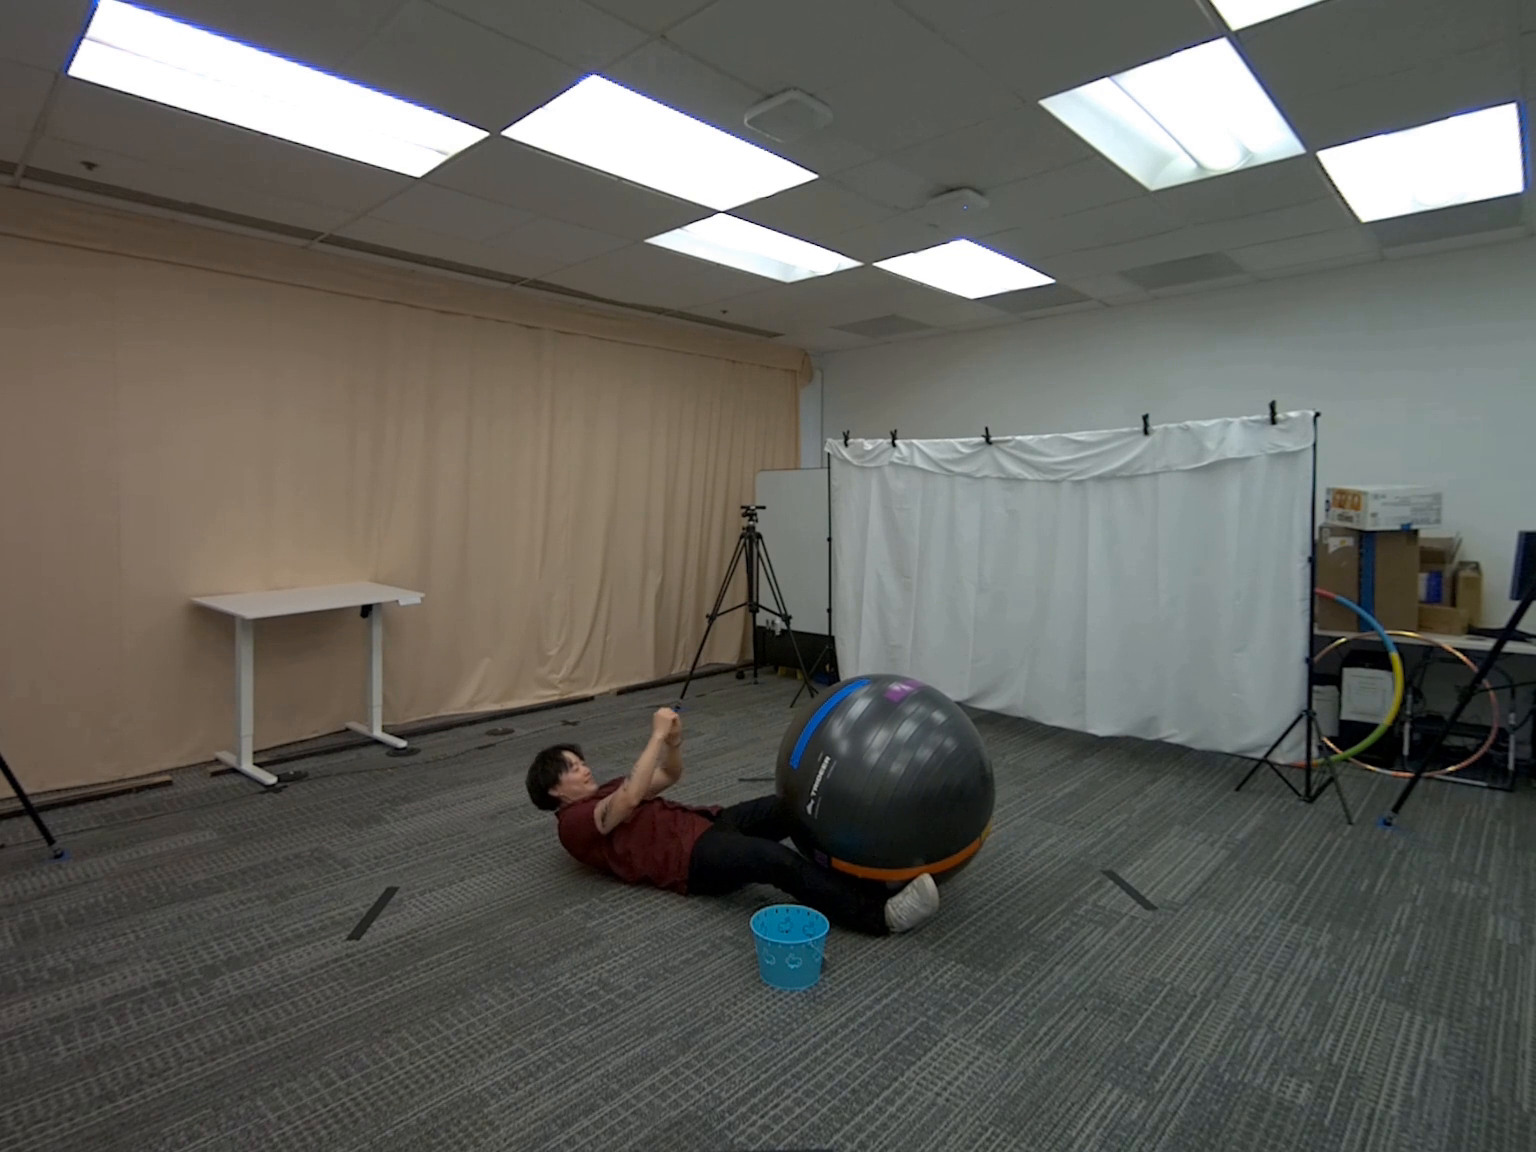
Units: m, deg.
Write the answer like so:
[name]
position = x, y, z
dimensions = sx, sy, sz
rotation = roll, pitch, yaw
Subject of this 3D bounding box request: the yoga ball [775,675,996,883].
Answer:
[yoga ball]
position = 0.414, 0.732, 2.987
dimensions = 0.757, 0.756, 0.760
rotation = 0, 4, -2
